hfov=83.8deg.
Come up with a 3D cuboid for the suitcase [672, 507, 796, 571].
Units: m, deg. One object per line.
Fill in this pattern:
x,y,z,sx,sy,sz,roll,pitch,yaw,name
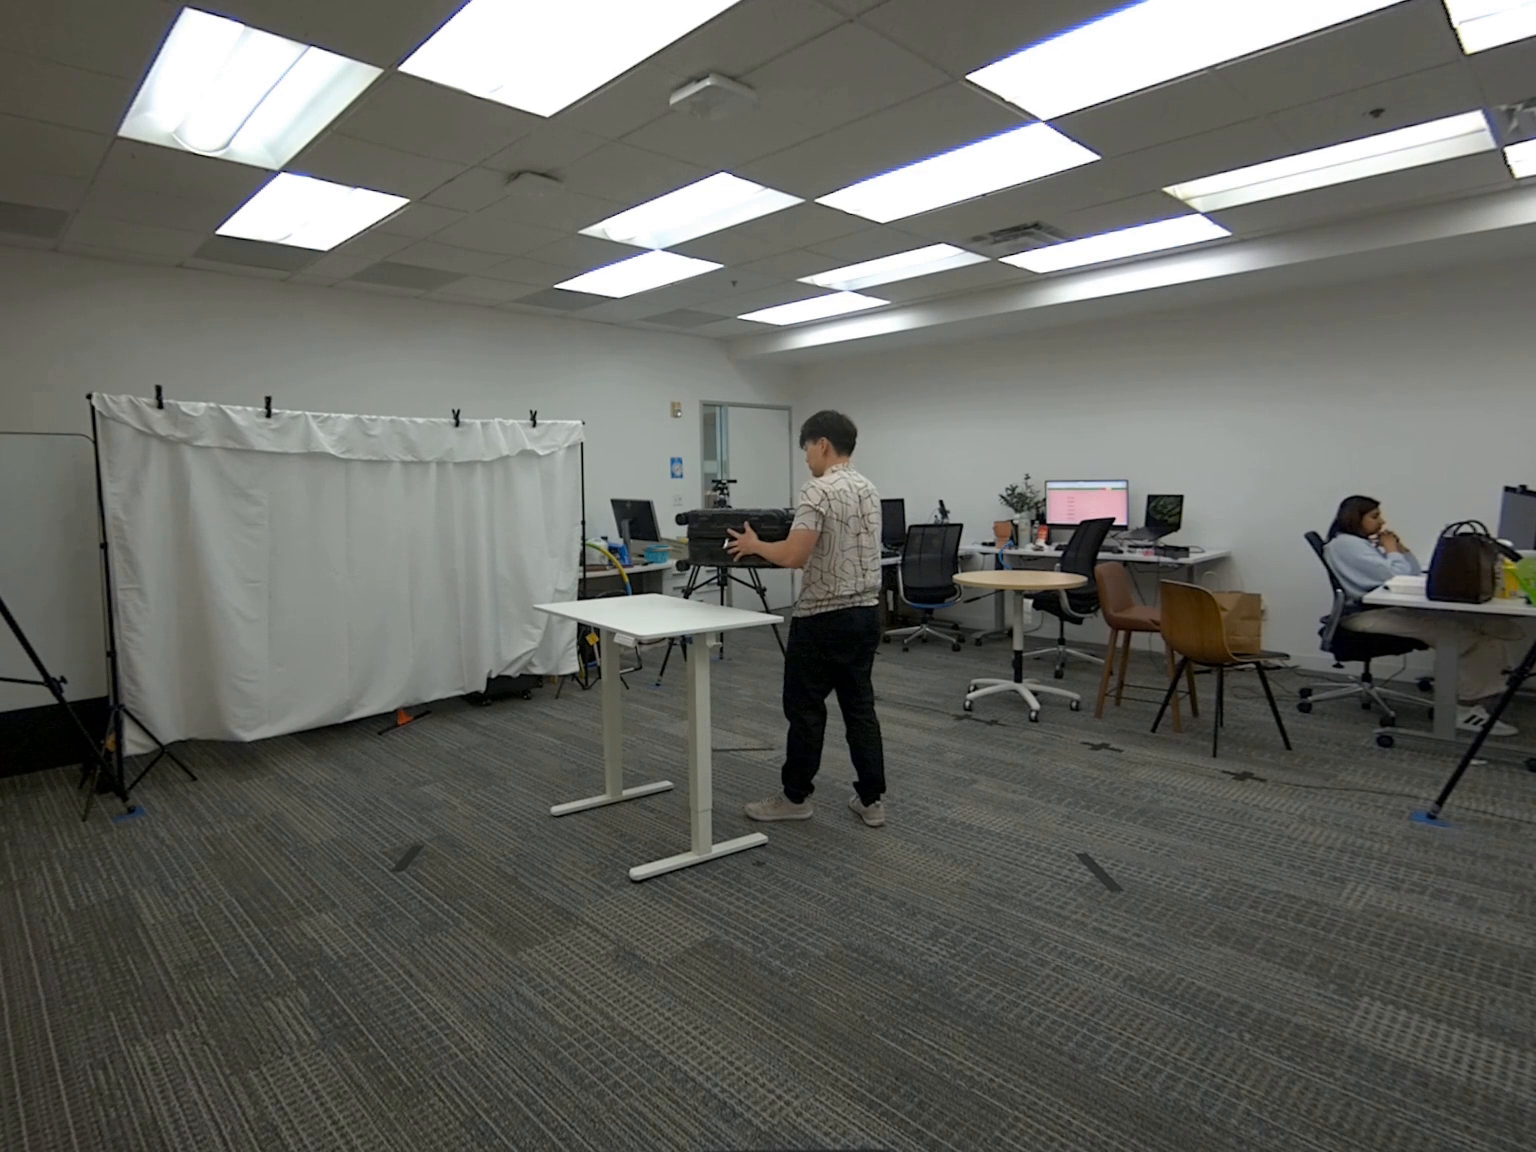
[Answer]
-0.077,-0.167,3.695,0.564,0.248,0.366,1,4,33,suitcase
